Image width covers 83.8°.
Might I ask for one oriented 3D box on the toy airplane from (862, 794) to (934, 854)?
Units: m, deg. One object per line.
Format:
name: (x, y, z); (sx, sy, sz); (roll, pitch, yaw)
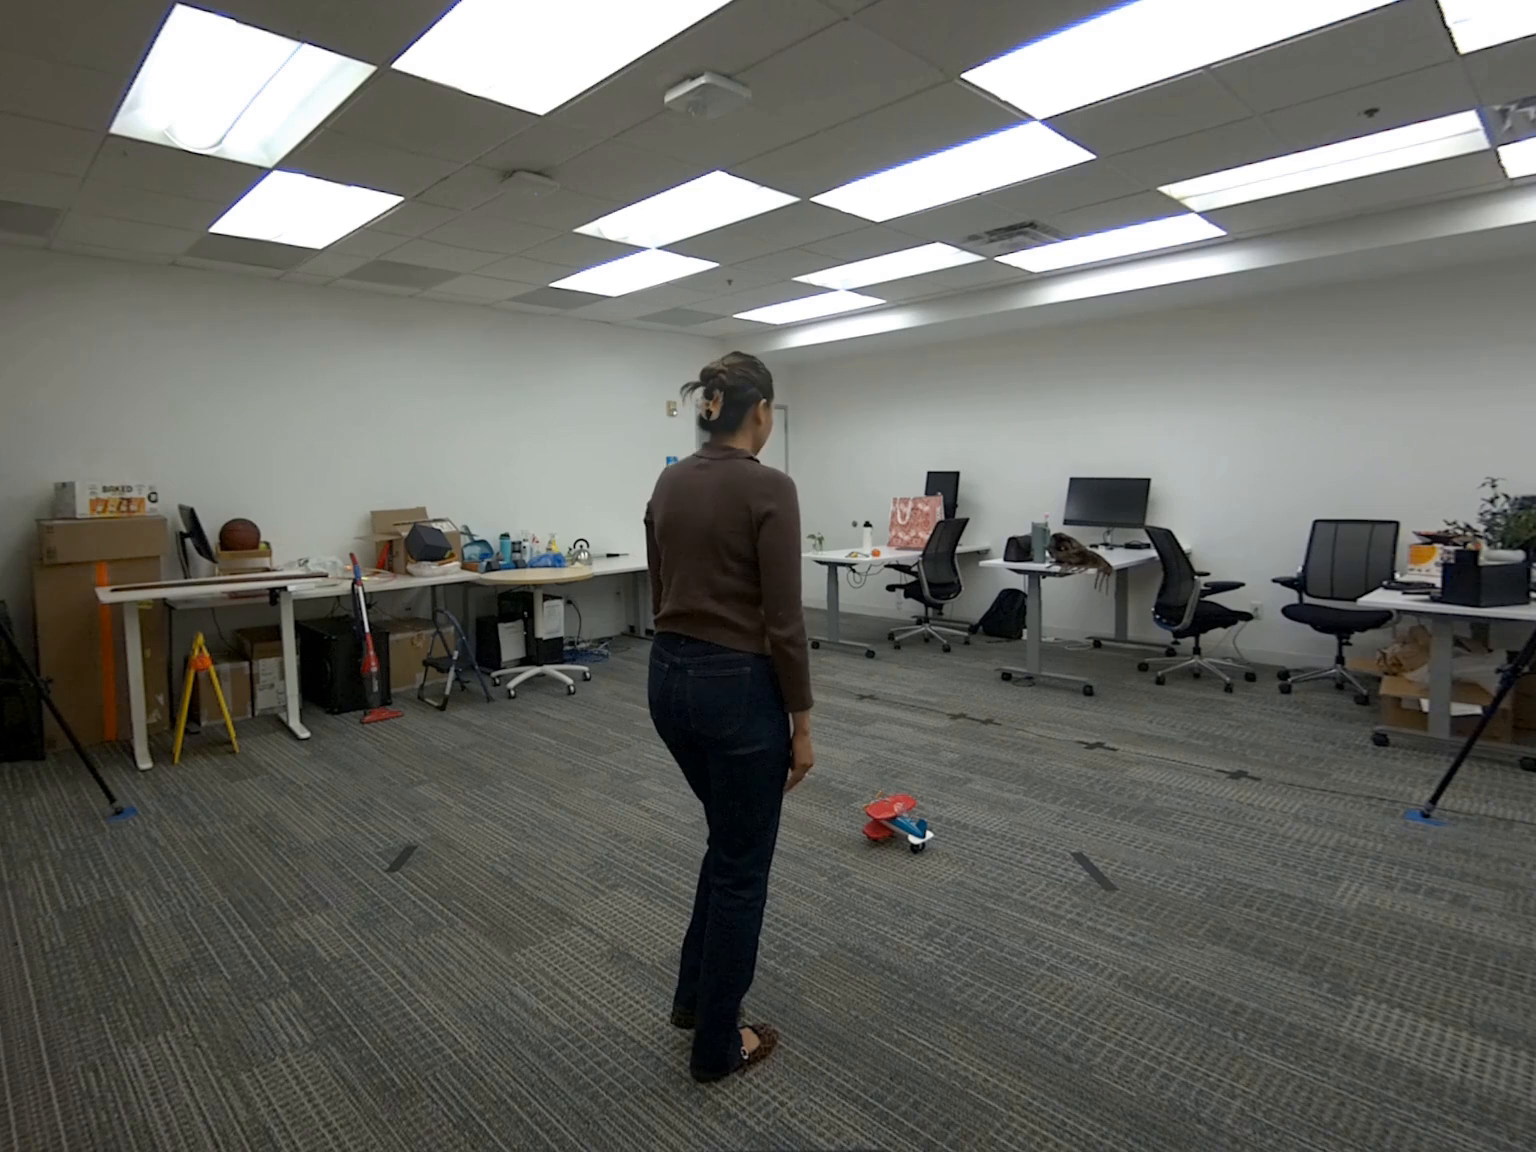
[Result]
toy airplane: (0.506, 0.944, 3.258); (0.264, 0.156, 0.247); (-1, 4, 20)
